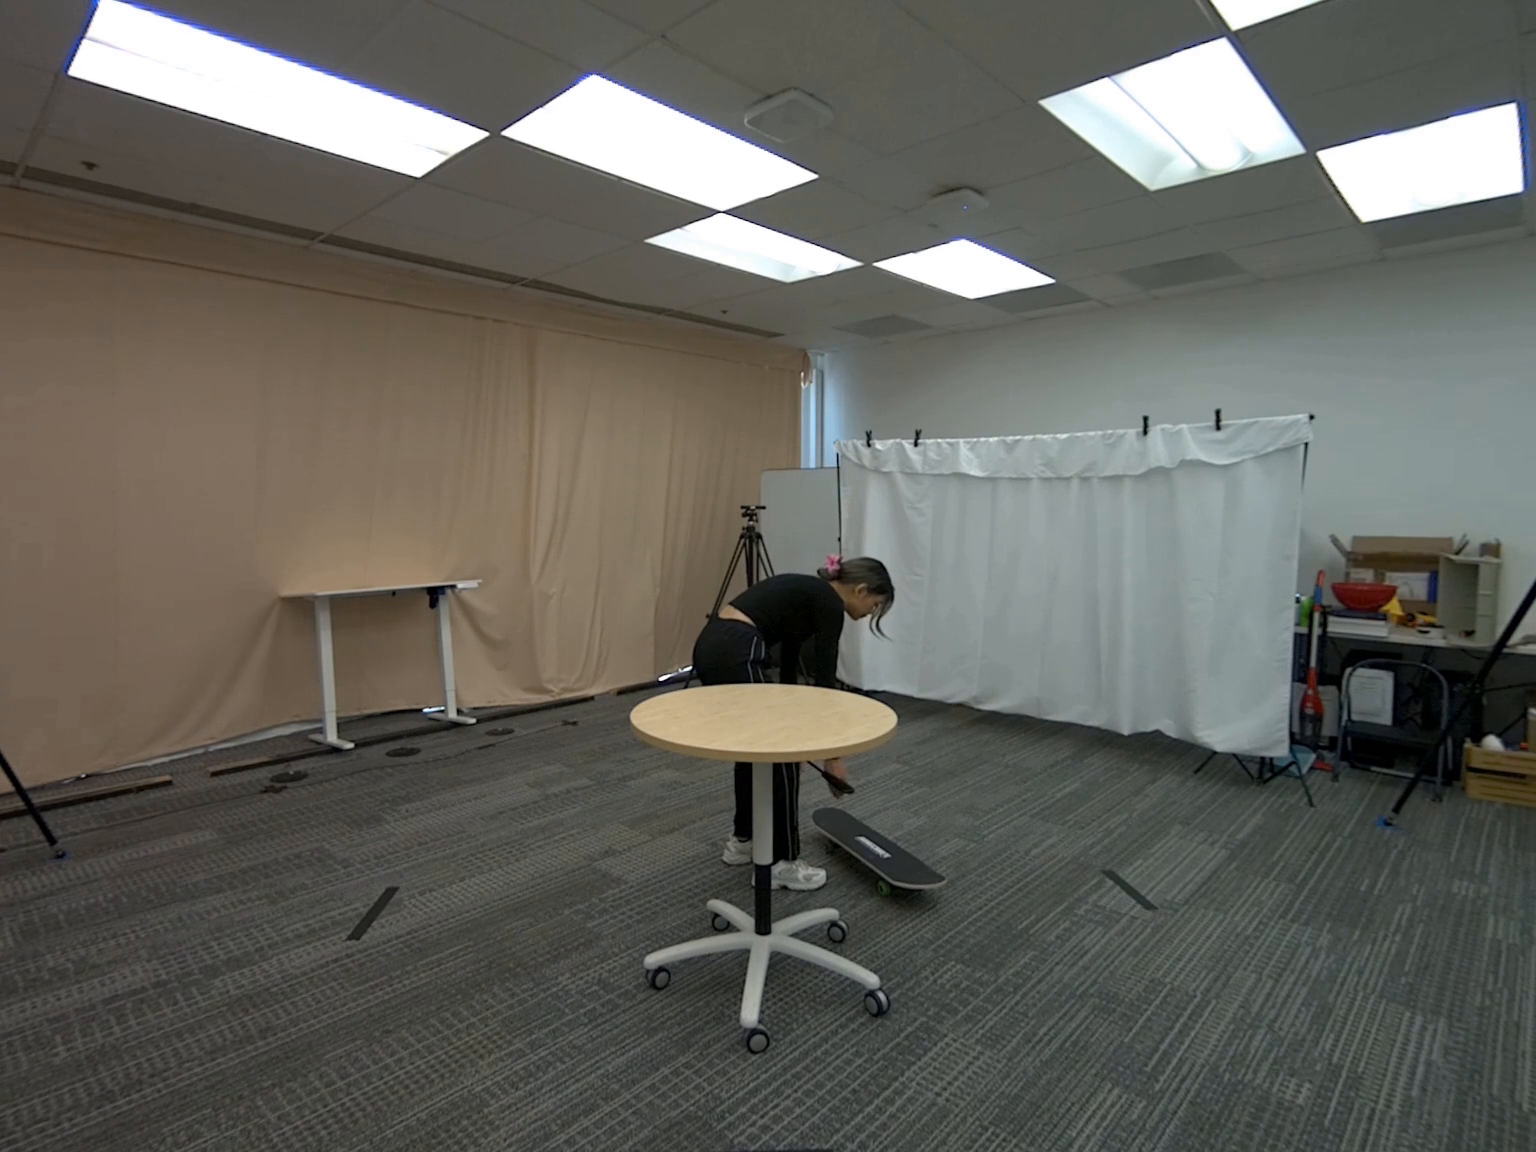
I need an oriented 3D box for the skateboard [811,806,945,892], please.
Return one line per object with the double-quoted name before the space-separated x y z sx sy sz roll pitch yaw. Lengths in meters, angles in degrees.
"skateboard" 0.400 1.062 3.218 0.189 0.110 0.805 -2 5 -24
